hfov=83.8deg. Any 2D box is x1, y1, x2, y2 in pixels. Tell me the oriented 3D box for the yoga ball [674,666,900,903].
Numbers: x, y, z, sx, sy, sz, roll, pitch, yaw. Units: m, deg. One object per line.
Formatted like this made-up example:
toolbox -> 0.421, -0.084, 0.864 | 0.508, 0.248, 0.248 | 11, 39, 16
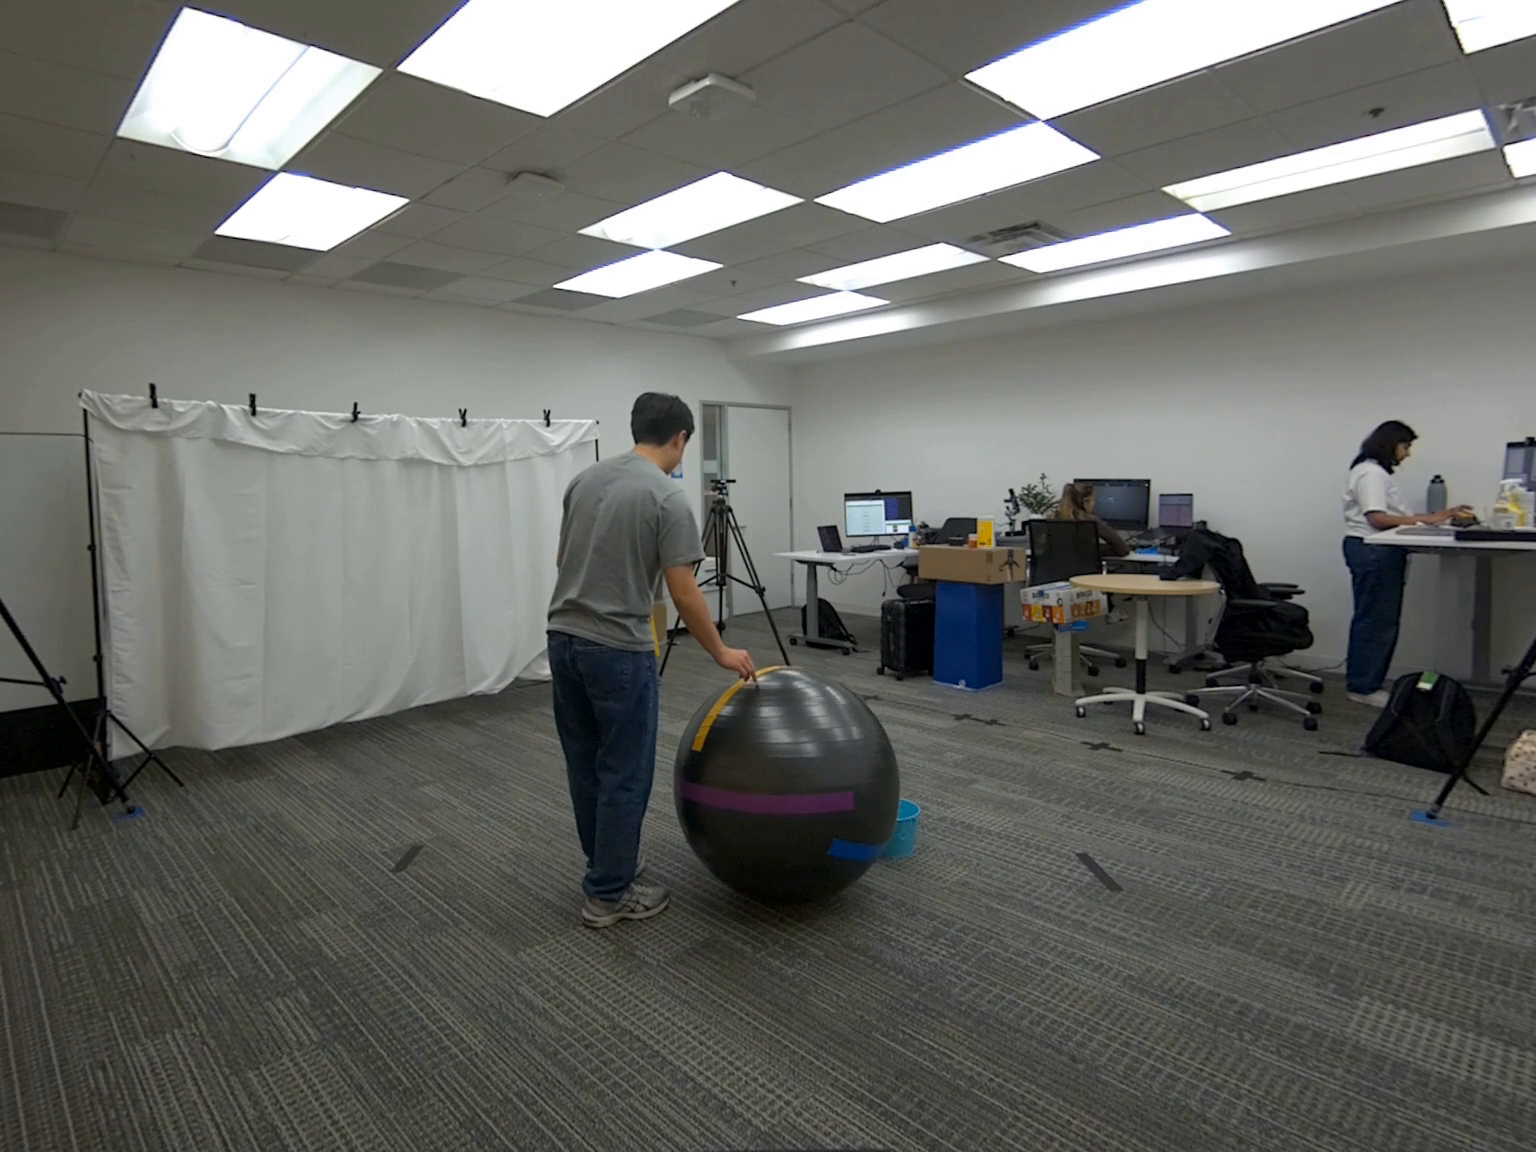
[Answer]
yoga ball -> 0.077, 0.701, 2.880 | 0.757, 0.755, 0.762 | -1, 5, -2
